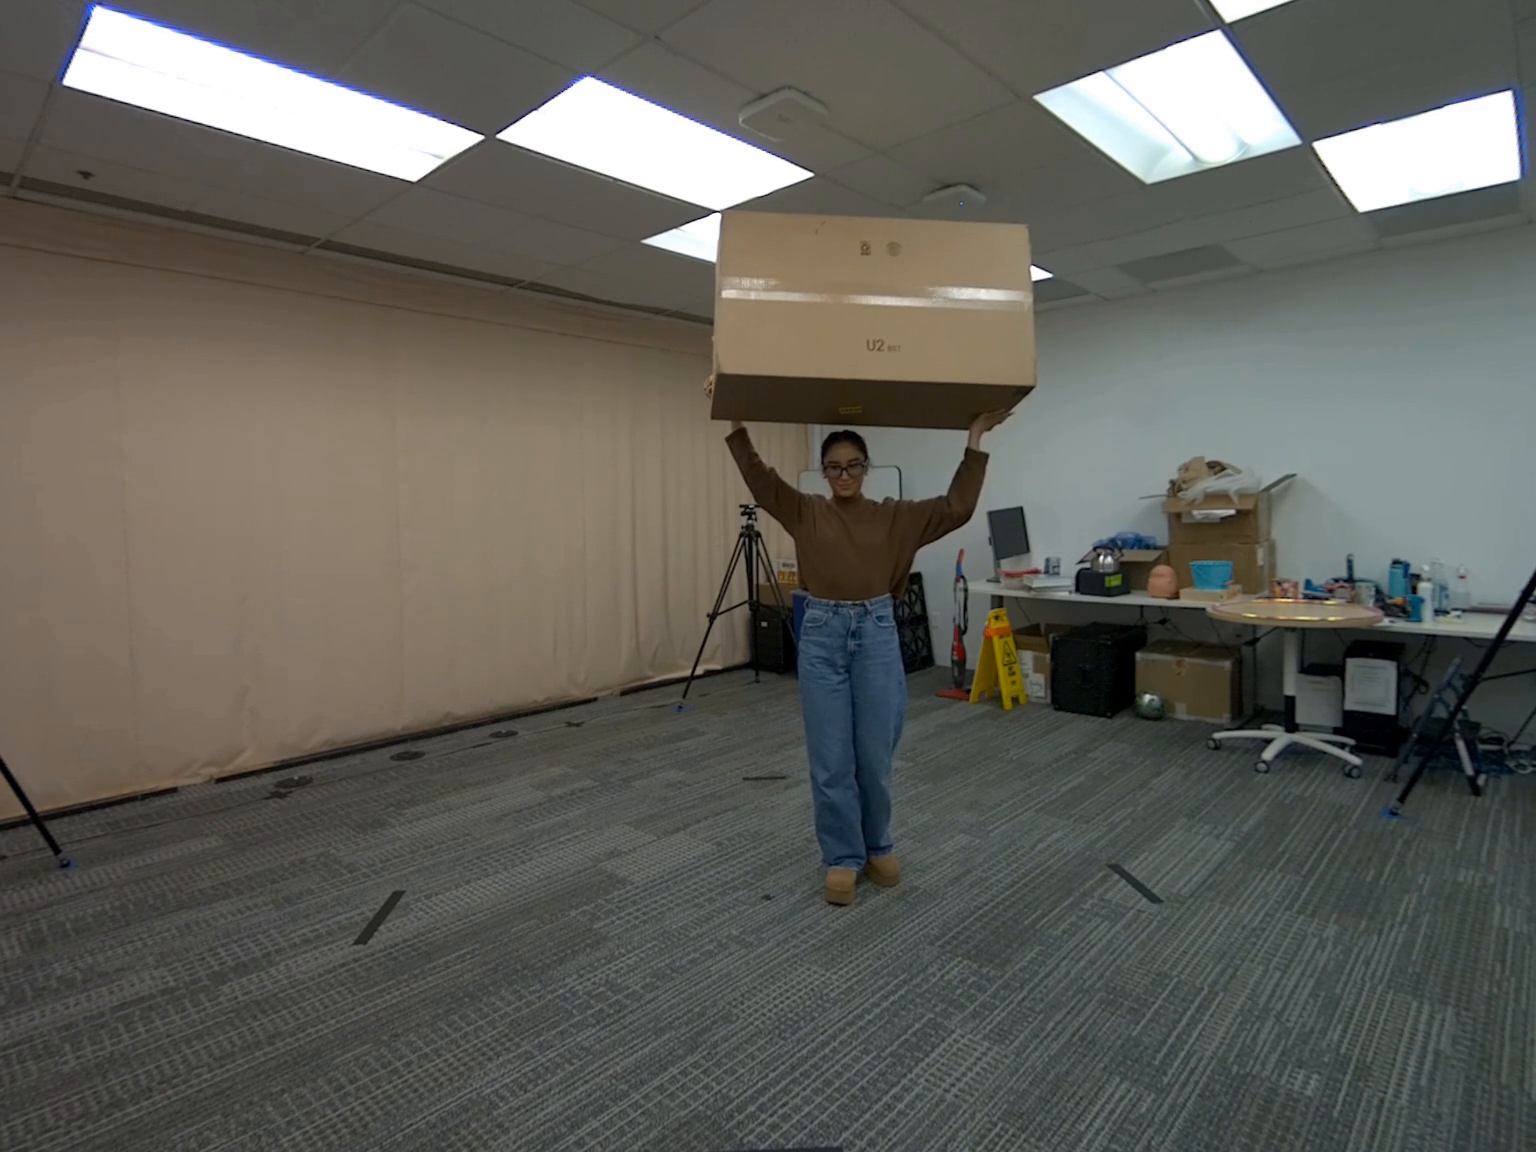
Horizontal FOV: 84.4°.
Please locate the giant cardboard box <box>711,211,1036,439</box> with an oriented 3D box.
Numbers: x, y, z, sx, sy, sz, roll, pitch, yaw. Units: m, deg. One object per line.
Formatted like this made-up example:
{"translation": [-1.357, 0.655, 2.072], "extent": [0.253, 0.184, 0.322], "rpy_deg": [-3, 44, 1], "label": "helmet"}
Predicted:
{"translation": [0.334, -0.862, 2.911], "extent": [1.023, 0.582, 0.424], "rpy_deg": [2, -12, -3], "label": "giant cardboard box"}
